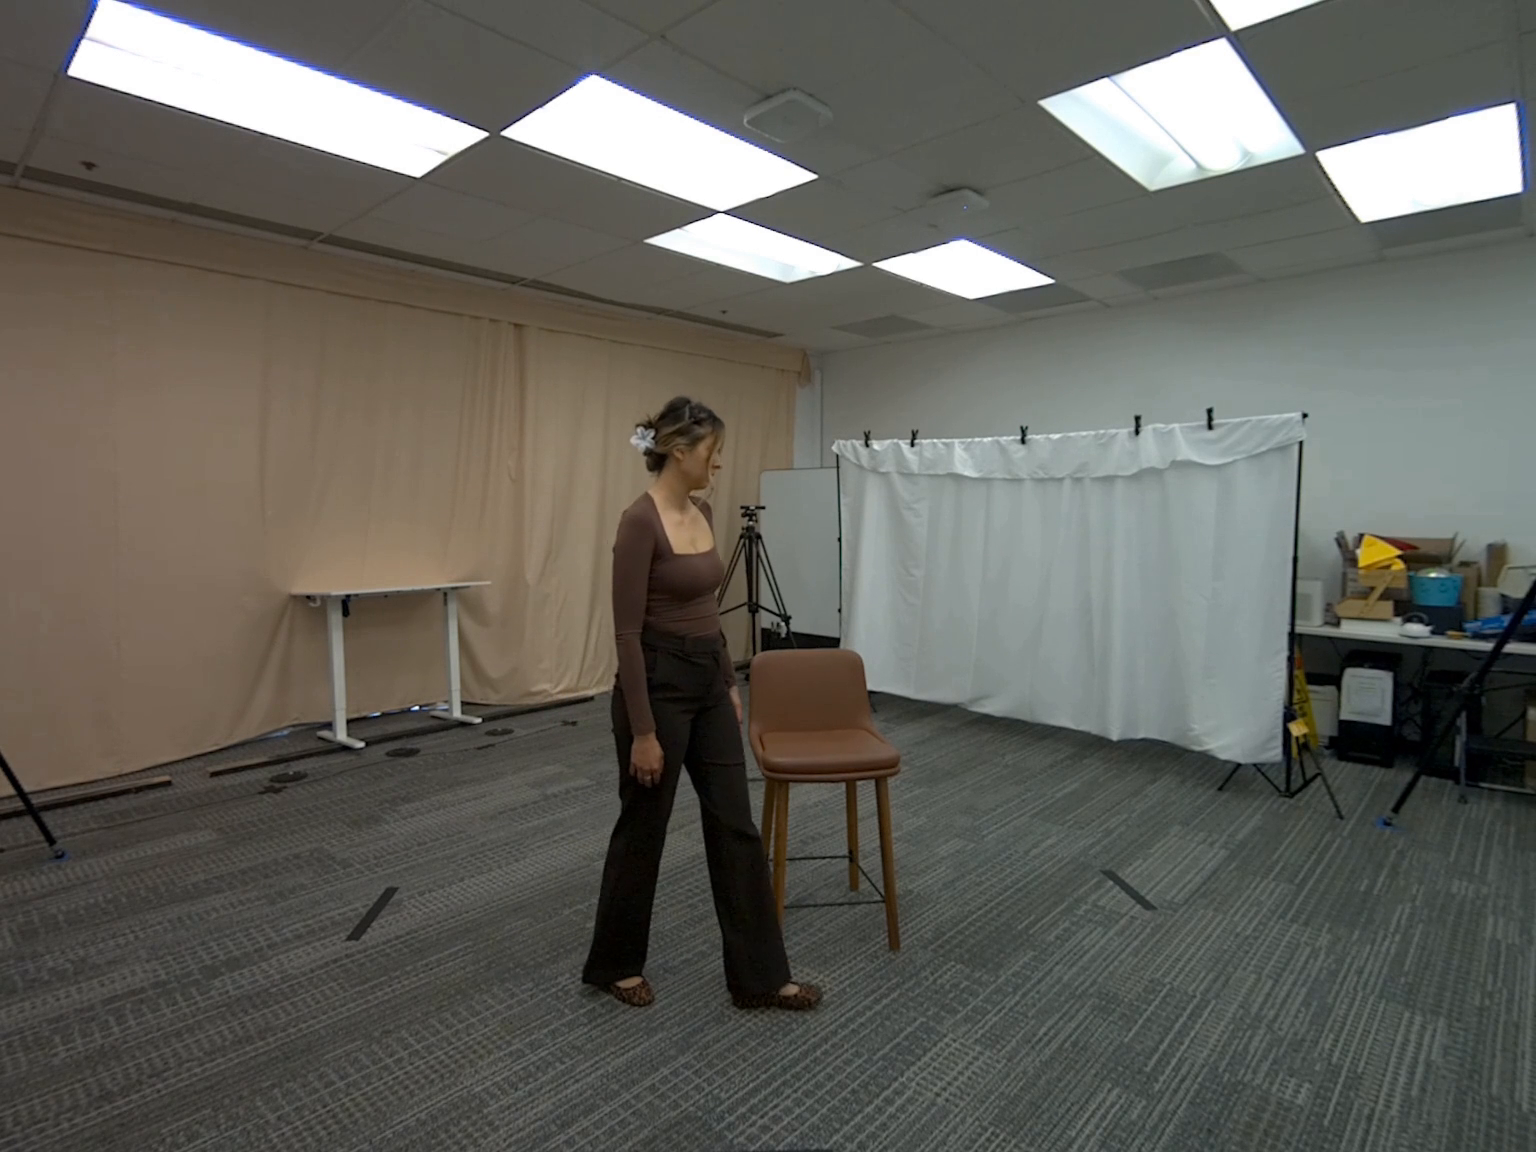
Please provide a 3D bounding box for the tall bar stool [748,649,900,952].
[{"bbox_3d":[0.182,0.724,2.809,0.453,0.889,0.472,-1,2,-9],"label":"tall bar stool"}]
